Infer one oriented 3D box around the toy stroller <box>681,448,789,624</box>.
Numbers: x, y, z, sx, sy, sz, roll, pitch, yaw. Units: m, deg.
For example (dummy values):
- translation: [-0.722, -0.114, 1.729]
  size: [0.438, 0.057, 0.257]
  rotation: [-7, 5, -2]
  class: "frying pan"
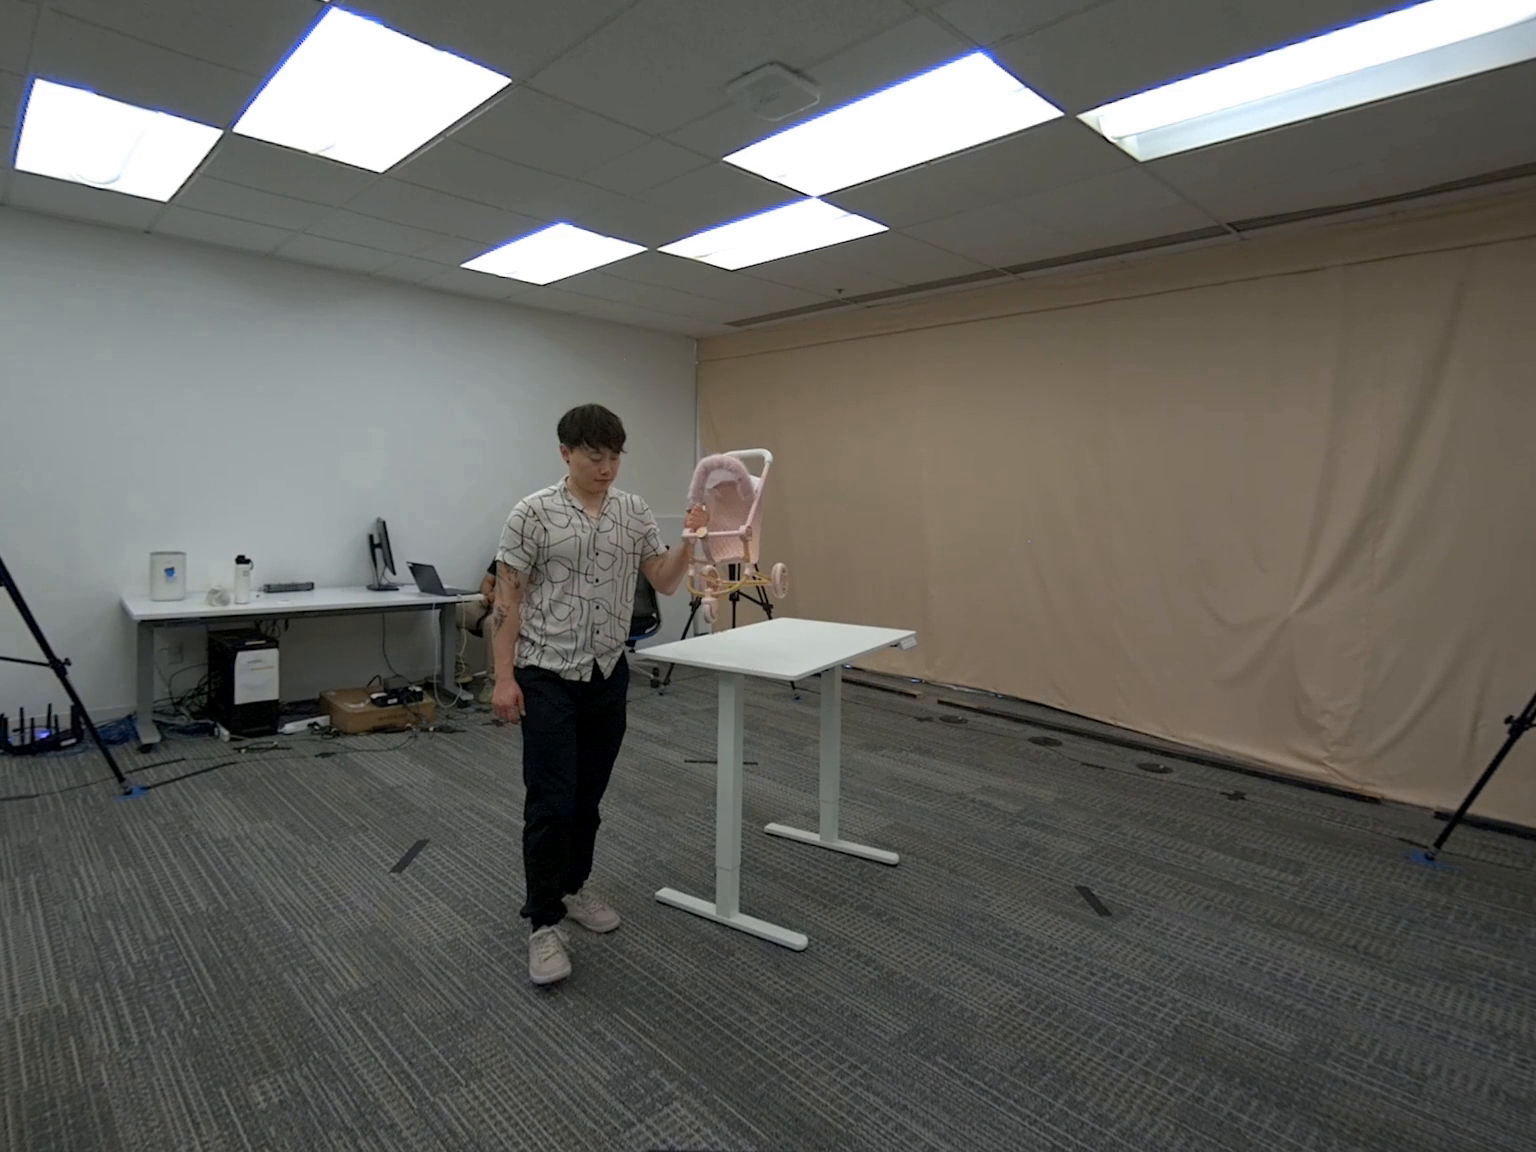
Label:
- translation: [-0.139, -0.134, 2.580]
  size: [0.287, 0.535, 0.334]
  rotation: [-1, -1, 28]
  class: "toy stroller"
